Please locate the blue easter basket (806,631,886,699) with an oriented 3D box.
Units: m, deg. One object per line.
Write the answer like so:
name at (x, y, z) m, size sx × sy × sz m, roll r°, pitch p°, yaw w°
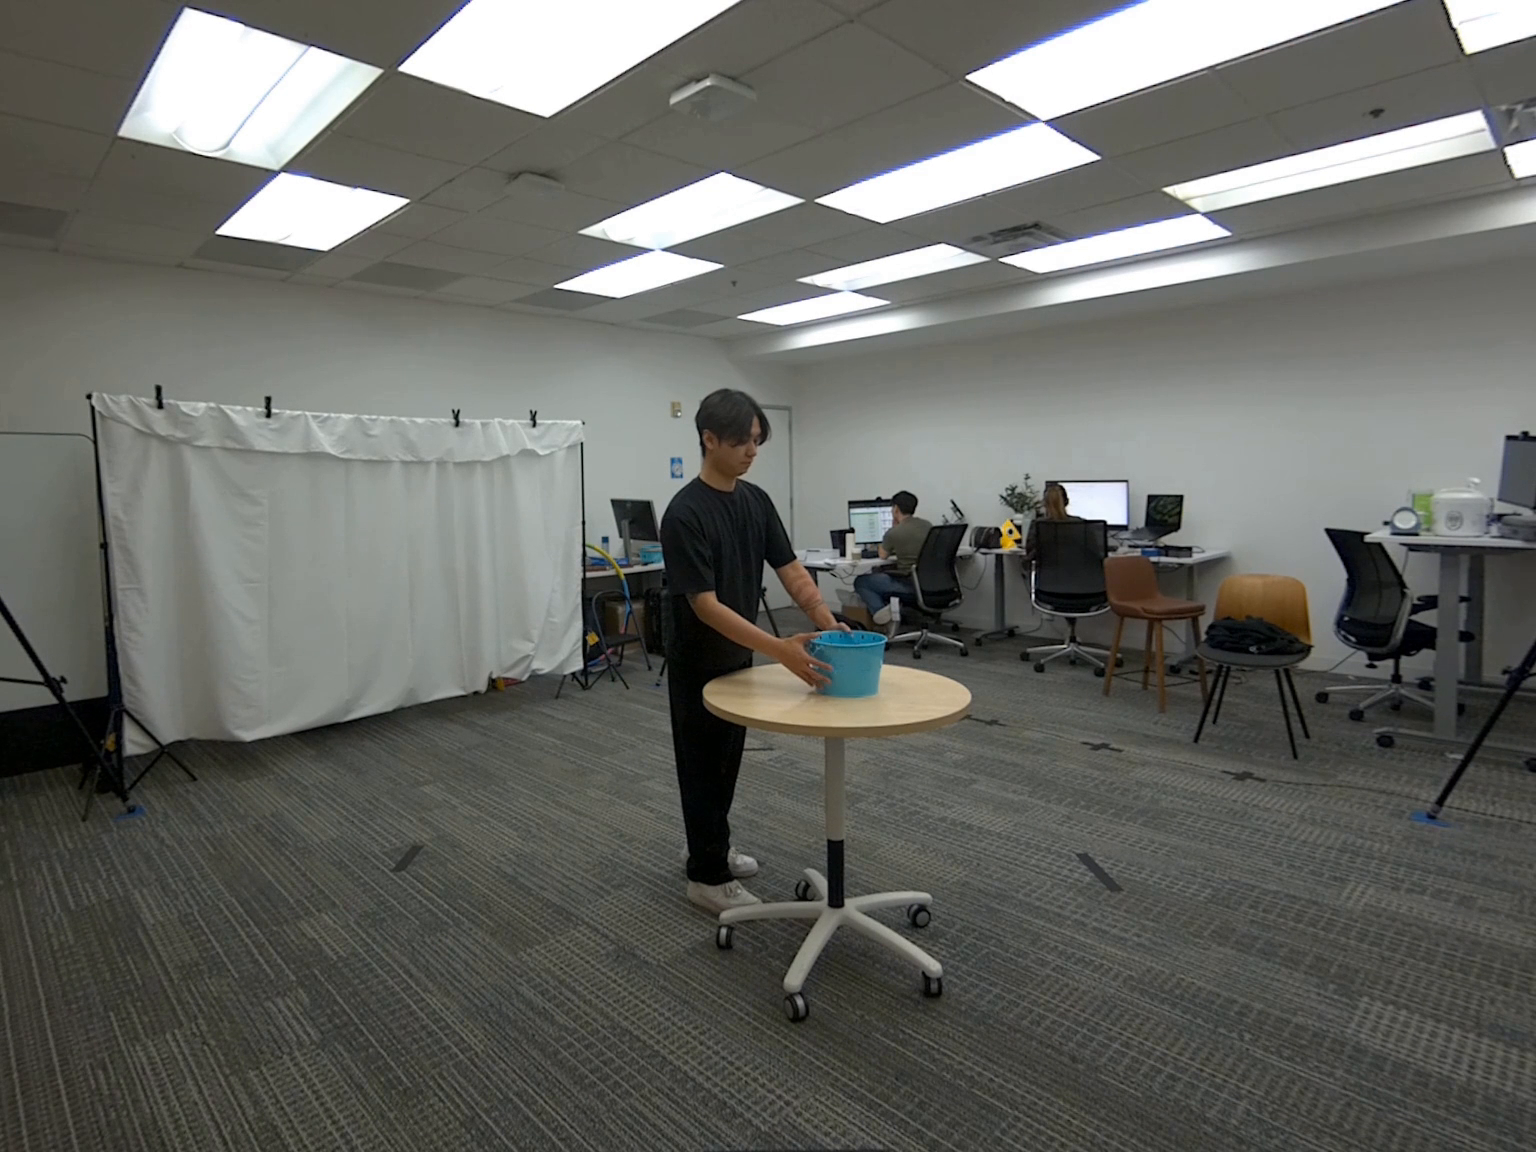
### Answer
blue easter basket at (0.227, 0.255, 2.467) m, size 0.243 × 0.155 × 0.245 m, roll -1°, pitch 6°, yaw -2°
